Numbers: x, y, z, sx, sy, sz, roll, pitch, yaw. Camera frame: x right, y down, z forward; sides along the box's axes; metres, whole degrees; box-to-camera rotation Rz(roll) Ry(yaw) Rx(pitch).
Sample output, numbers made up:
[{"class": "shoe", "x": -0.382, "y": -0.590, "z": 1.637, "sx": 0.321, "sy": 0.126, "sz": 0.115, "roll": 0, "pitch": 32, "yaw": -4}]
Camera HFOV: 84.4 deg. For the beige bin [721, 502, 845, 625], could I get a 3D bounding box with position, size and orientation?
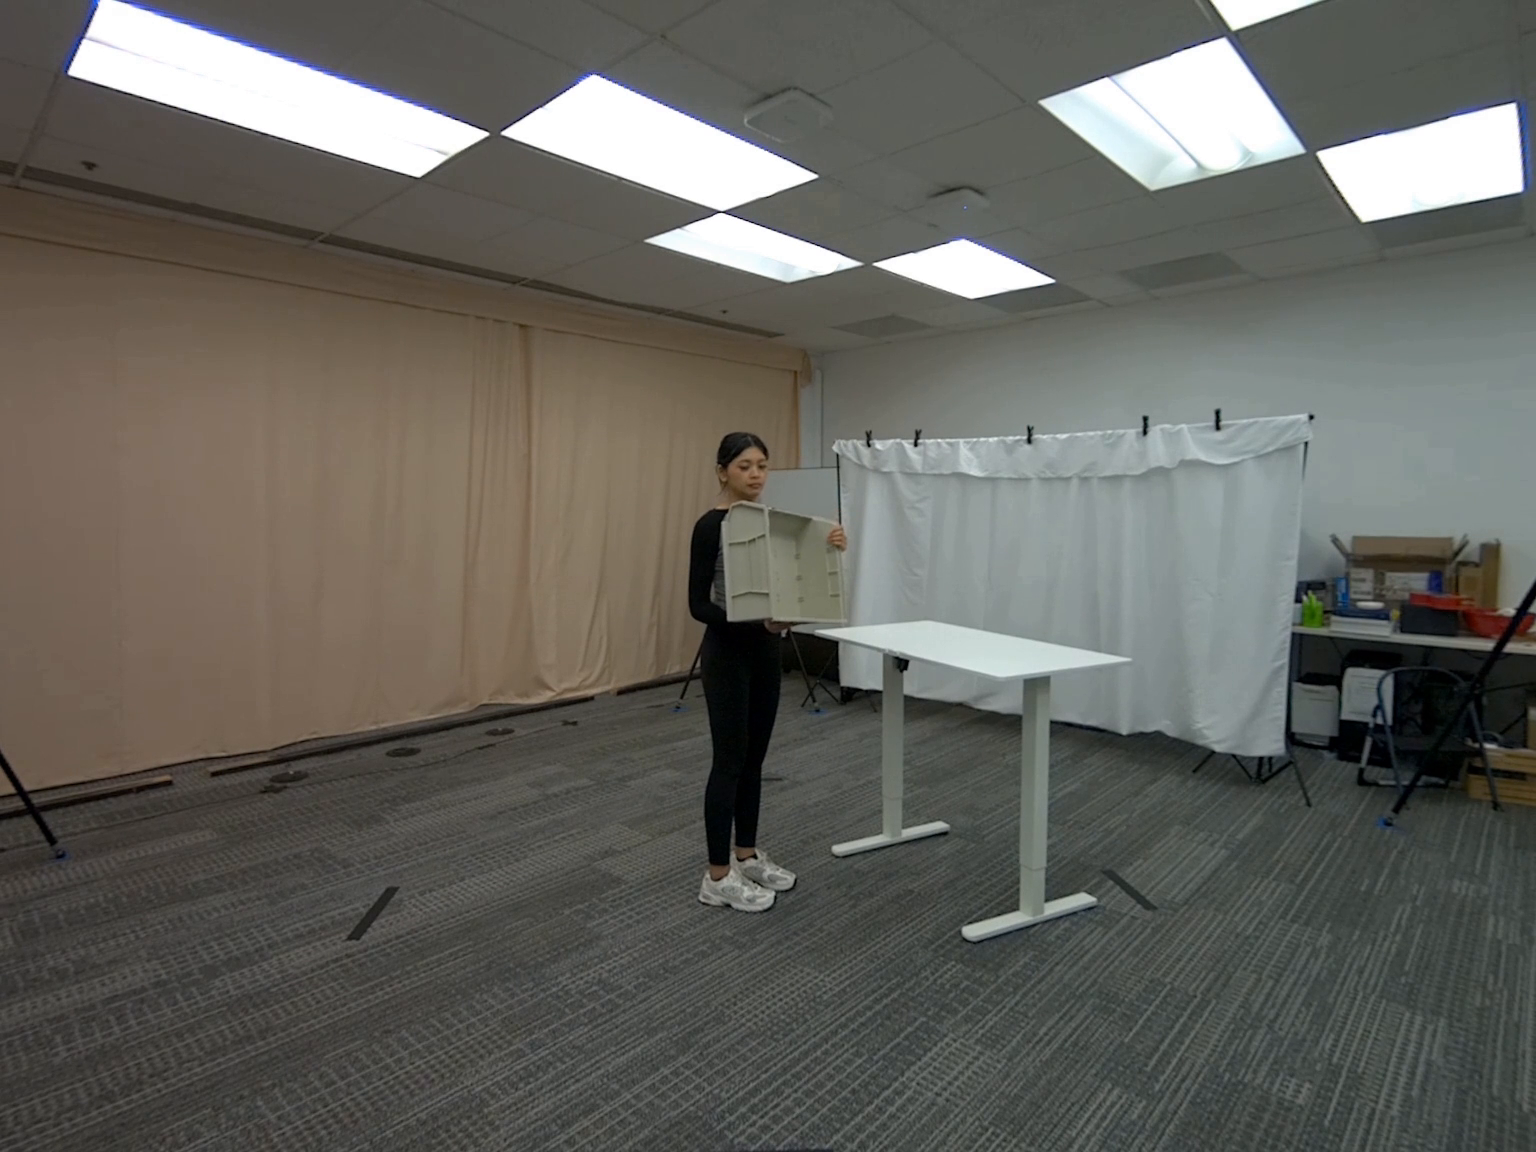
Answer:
[{"class": "beige bin", "x": 0.058, "y": -0.029, "z": 2.719, "sx": 0.194, "sy": 0.379, "sz": 0.408, "roll": -9, "pitch": -9, "yaw": 36}]
